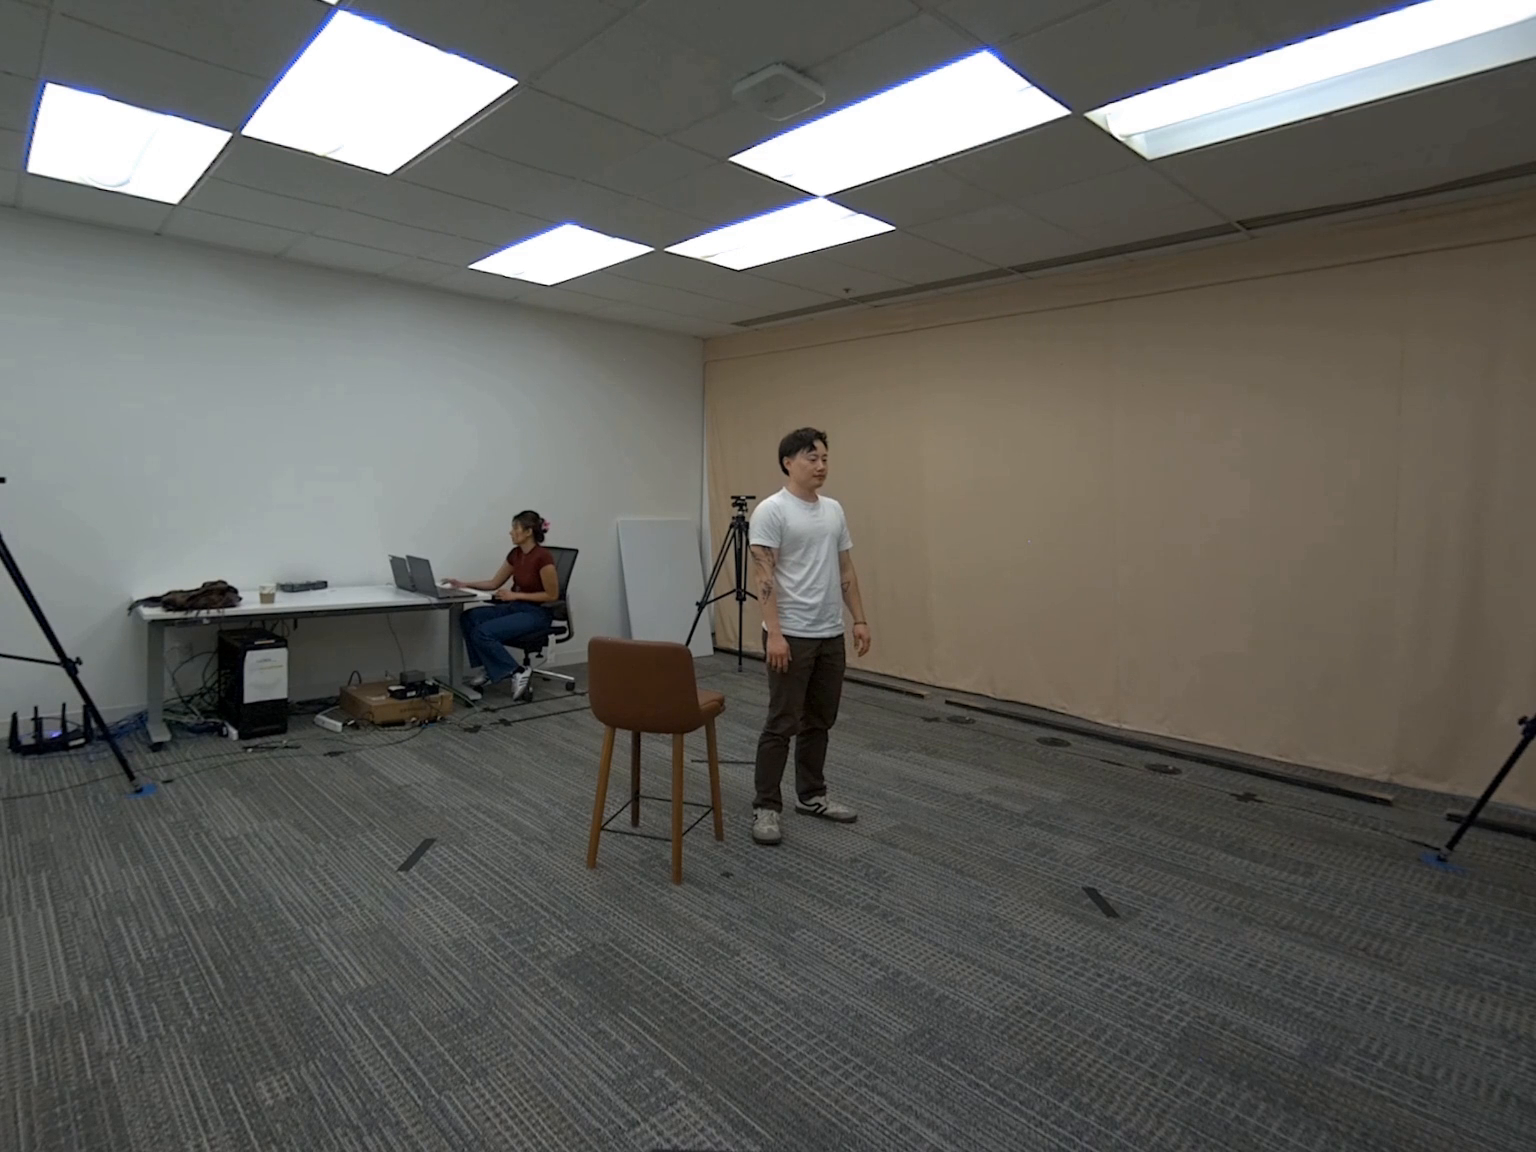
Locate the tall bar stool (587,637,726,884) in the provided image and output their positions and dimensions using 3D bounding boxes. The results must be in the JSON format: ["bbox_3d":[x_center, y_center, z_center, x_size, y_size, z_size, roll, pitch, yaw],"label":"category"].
[{"bbox_3d":[-0.437,0.650,3.253,0.463,0.887,0.462,2,5,19],"label":"tall bar stool"}]
